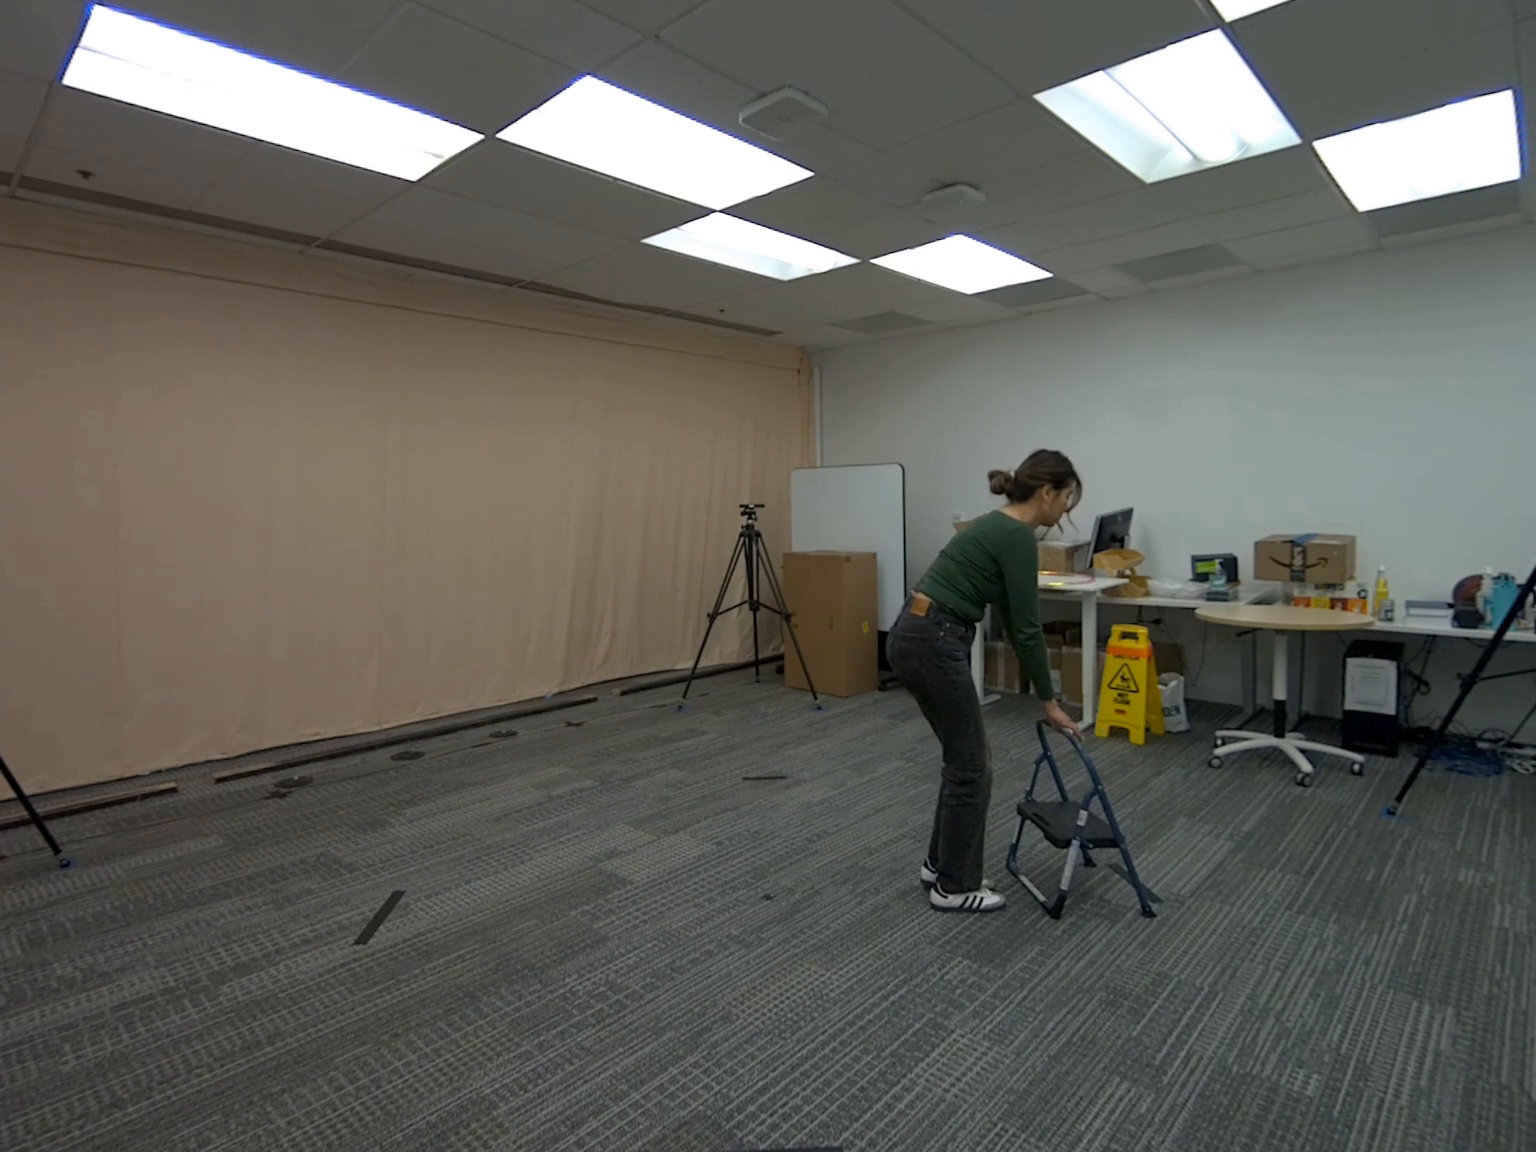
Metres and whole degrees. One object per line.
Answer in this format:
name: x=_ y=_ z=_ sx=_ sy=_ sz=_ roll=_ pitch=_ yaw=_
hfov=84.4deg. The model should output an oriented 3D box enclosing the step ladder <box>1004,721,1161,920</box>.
step ladder: x=1.093 y=0.818 z=2.983 sx=0.348 sy=0.605 sz=0.433 roll=-1 pitch=3 yaw=-5
